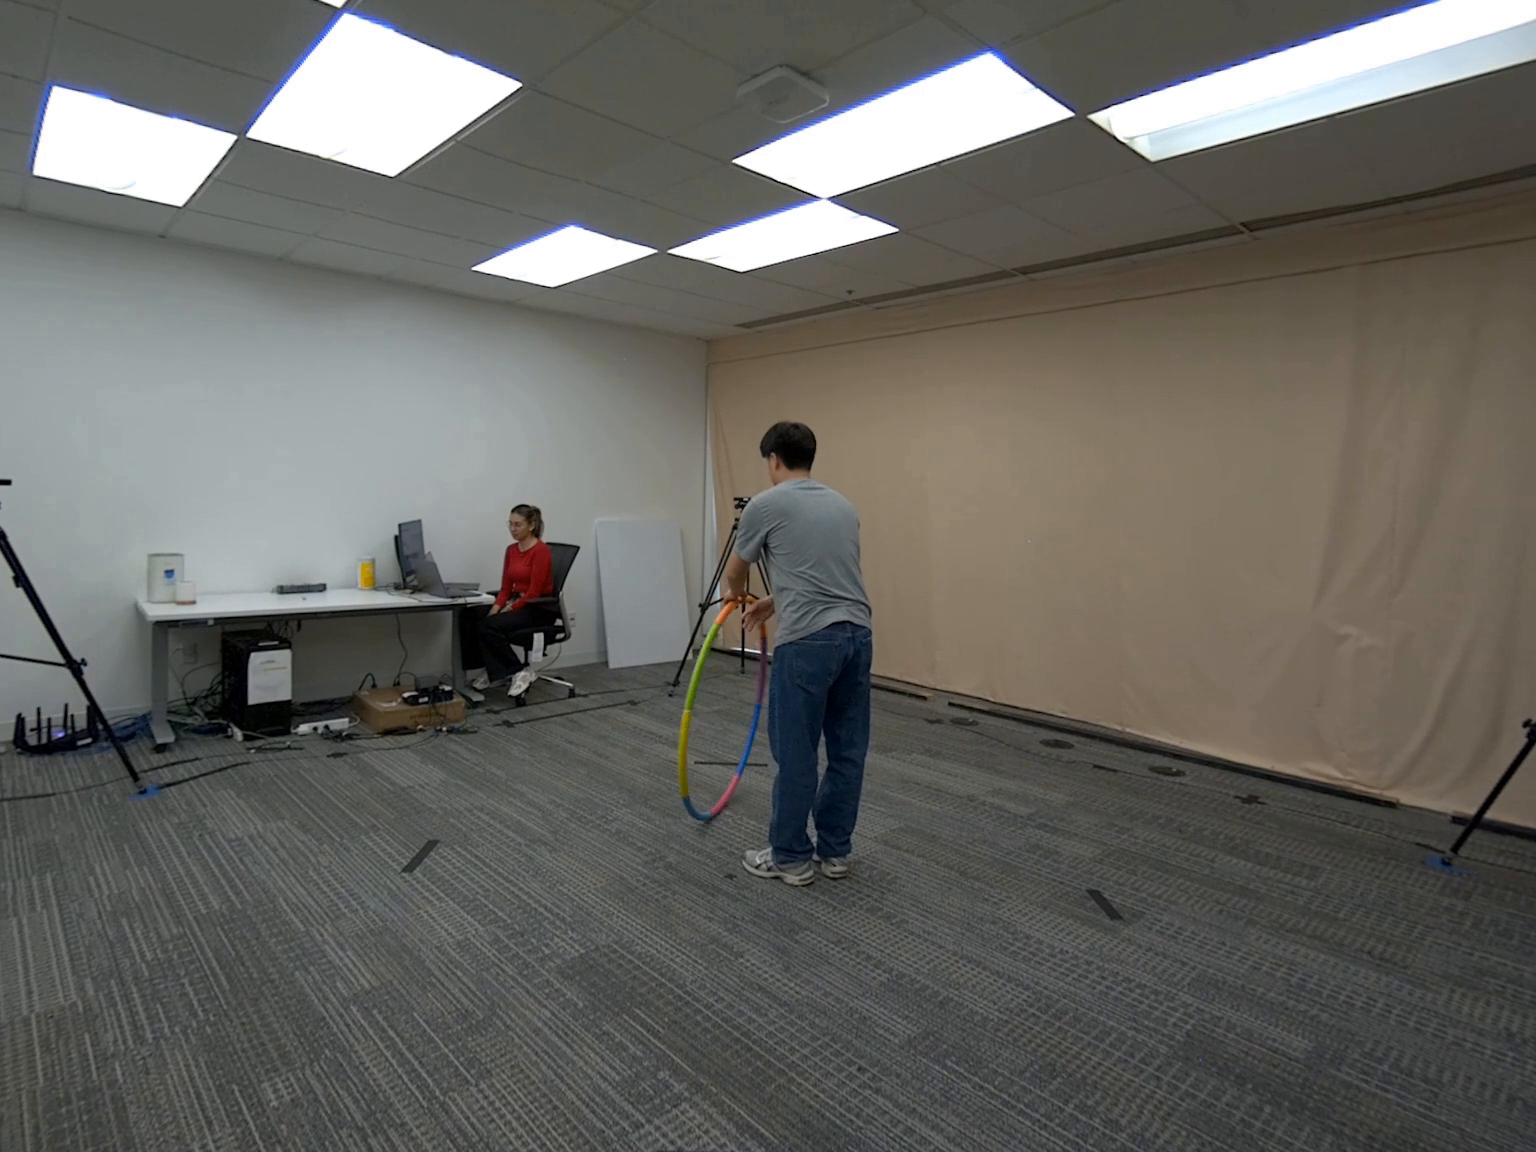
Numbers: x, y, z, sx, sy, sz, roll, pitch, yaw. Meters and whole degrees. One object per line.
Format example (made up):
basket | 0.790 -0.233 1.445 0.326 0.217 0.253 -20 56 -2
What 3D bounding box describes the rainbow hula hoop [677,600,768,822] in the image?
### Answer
rainbow hula hoop | -0.191 0.568 3.693 0.036 0.975 0.967 9 6 16
